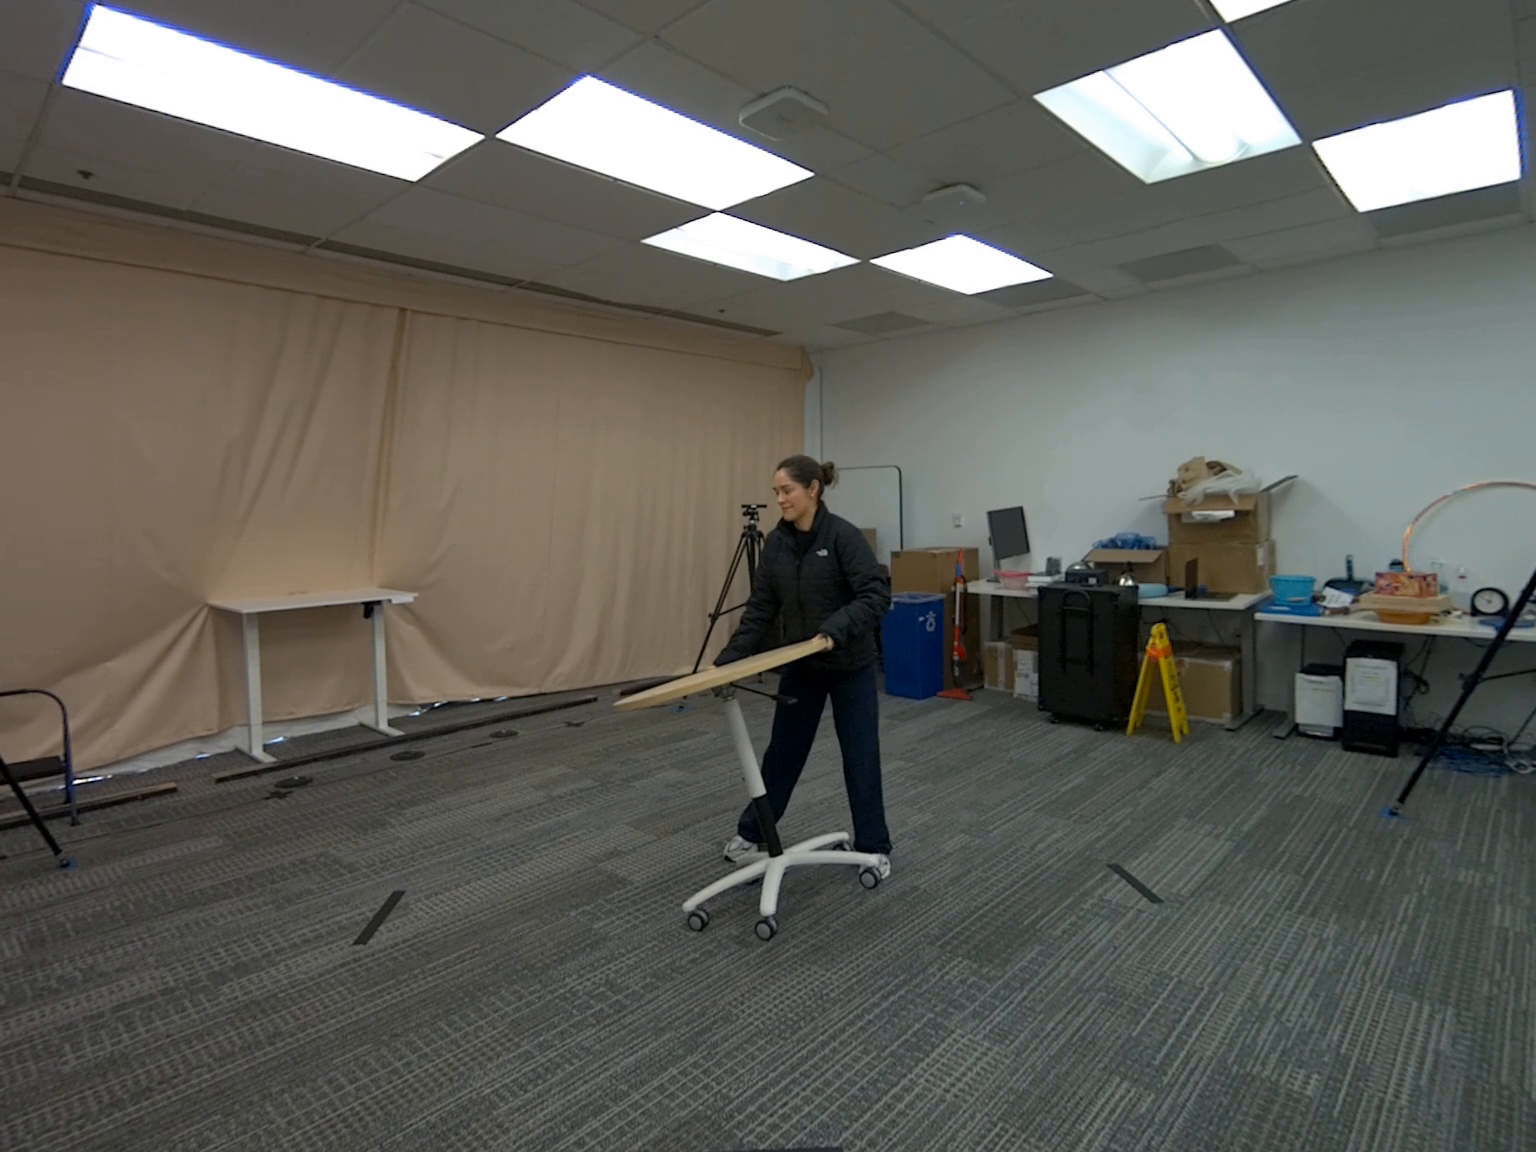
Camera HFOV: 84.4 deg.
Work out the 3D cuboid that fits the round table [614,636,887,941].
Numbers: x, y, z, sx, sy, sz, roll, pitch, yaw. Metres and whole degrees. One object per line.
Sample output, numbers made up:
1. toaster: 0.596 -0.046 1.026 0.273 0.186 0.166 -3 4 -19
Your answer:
1. round table: -0.022 0.696 2.864 0.783 0.790 0.783 -17 -4 -3
